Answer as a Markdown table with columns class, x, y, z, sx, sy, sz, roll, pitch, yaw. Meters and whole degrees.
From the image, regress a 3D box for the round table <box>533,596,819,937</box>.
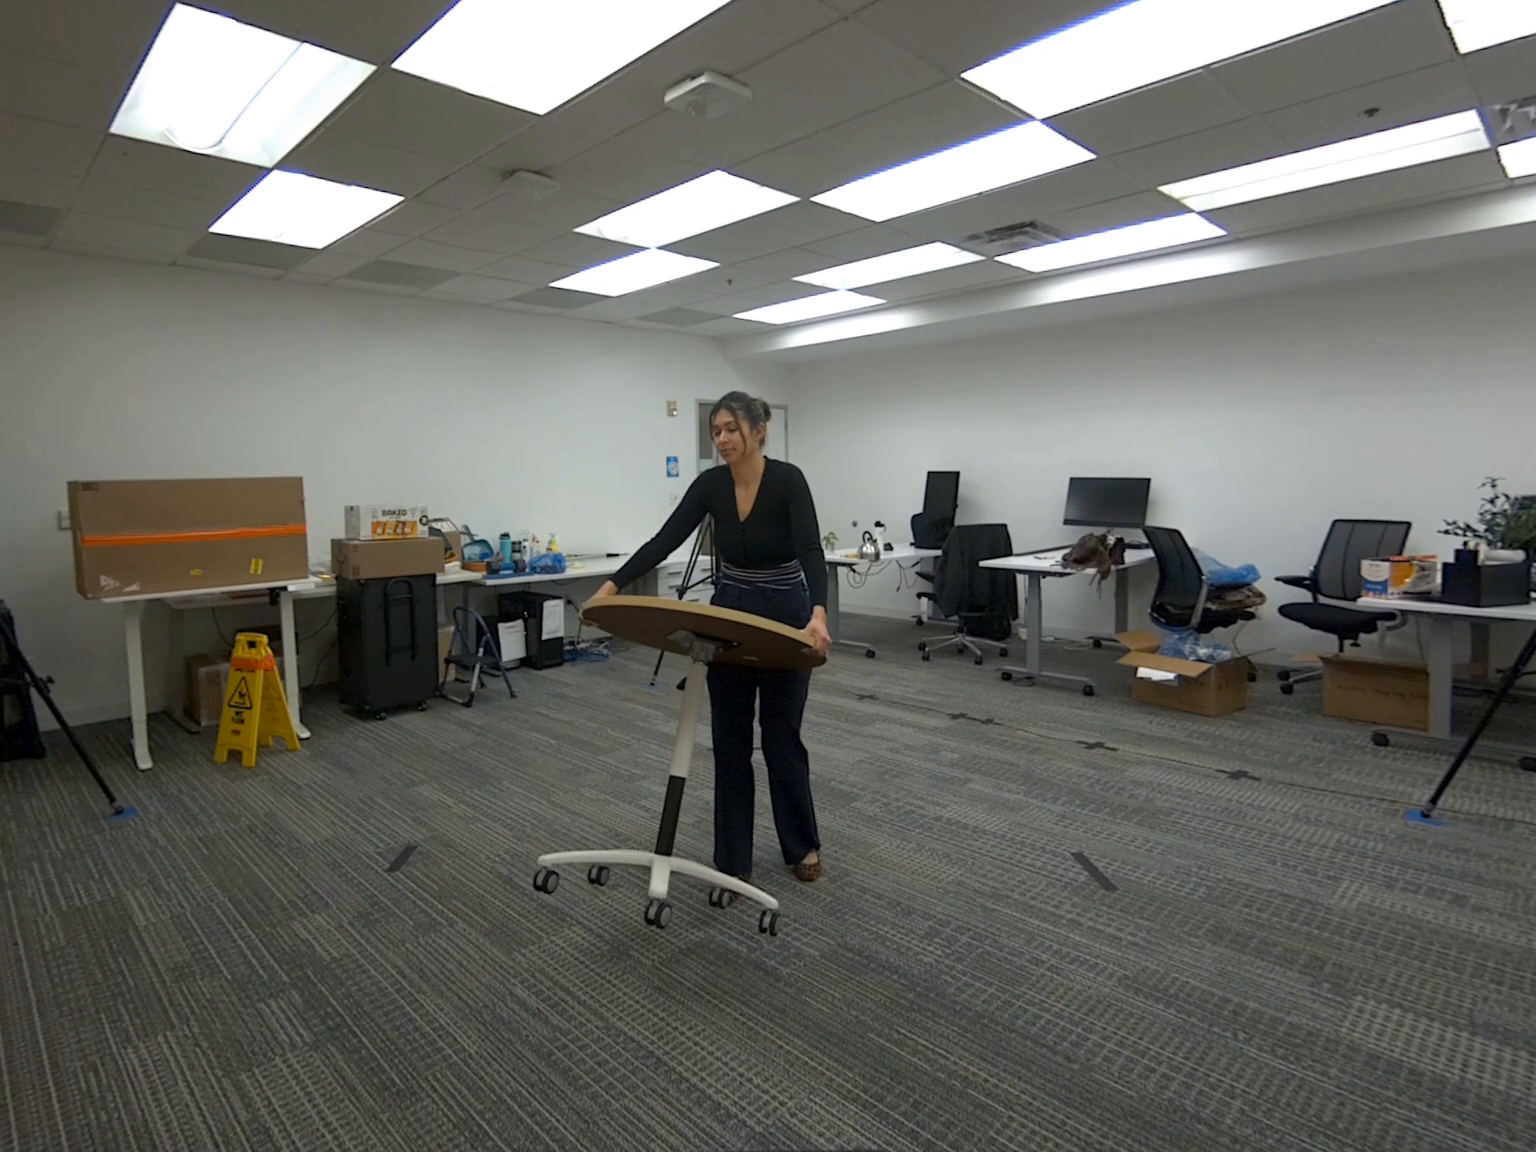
| class | x | y | z | sx | sy | sz | roll | pitch | yaw |
| --- | --- | --- | --- | --- | --- | --- | --- | --- | --- |
| round table | -0.252 | 0.559 | 2.521 | 0.766 | 0.803 | 0.754 | 10 | -16 | 1 |
